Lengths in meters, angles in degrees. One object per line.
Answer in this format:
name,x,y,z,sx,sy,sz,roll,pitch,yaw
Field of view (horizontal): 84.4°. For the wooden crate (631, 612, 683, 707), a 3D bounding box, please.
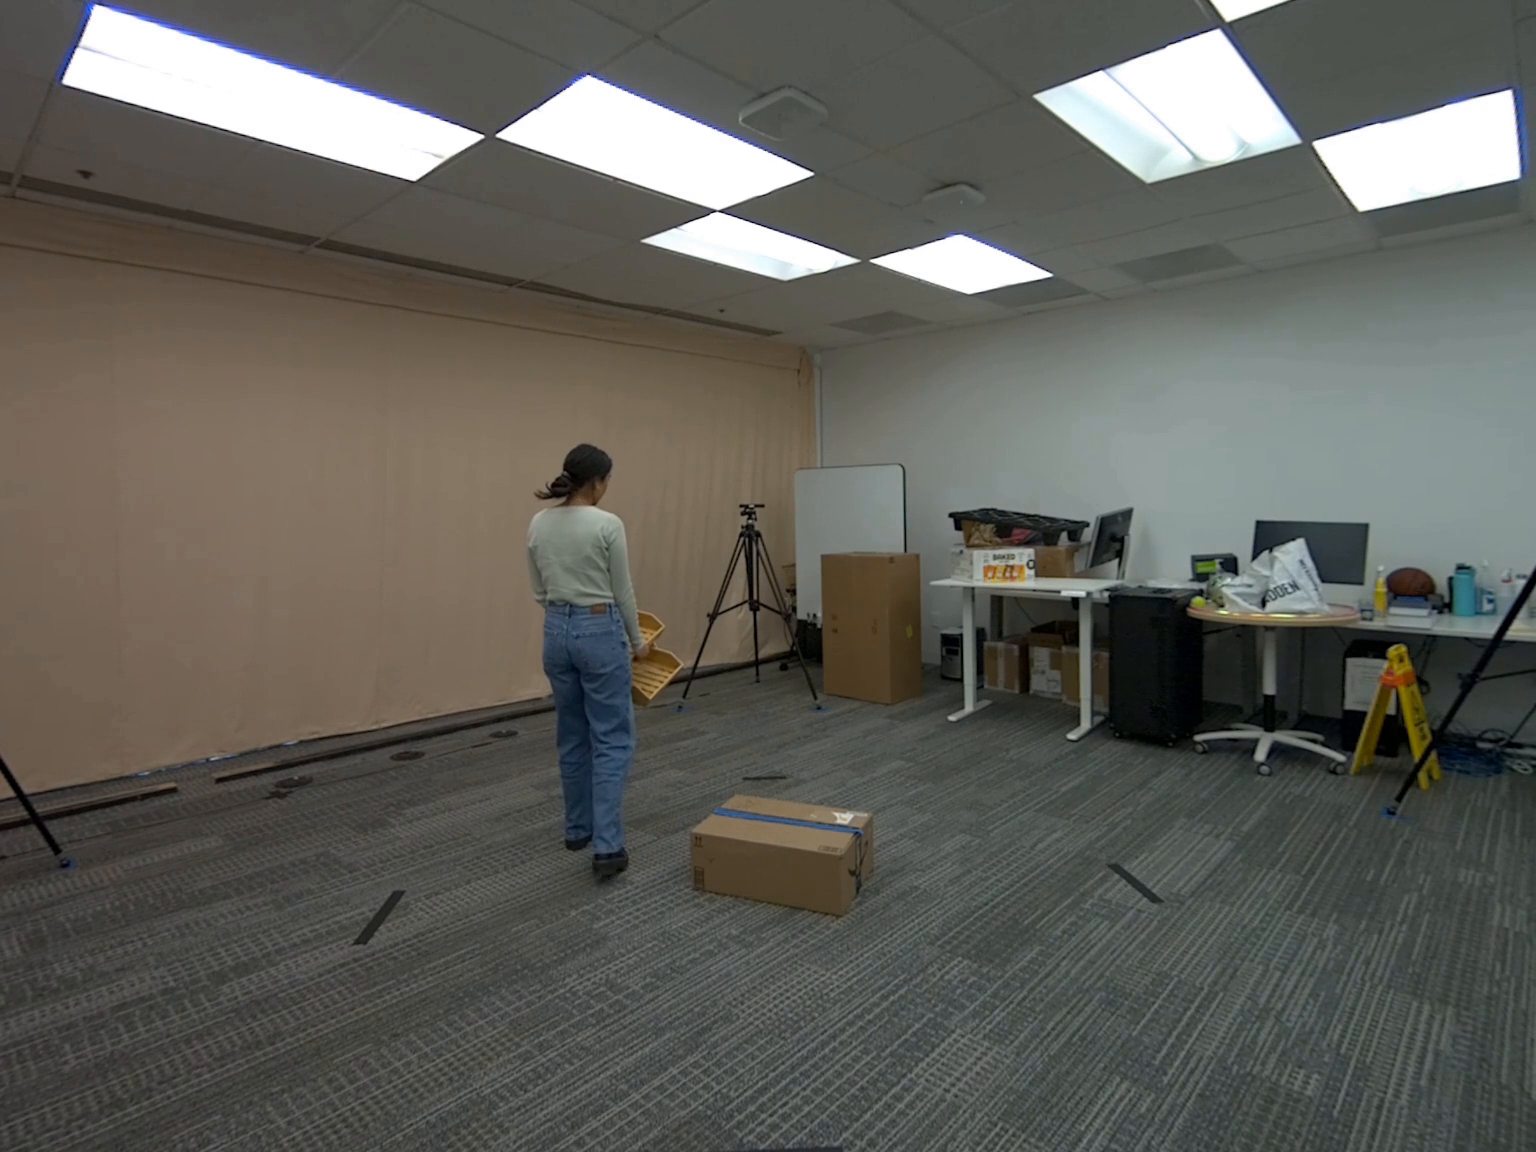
wooden crate,-0.555,0.342,3.627,0.309,0.269,0.321,12,27,21
